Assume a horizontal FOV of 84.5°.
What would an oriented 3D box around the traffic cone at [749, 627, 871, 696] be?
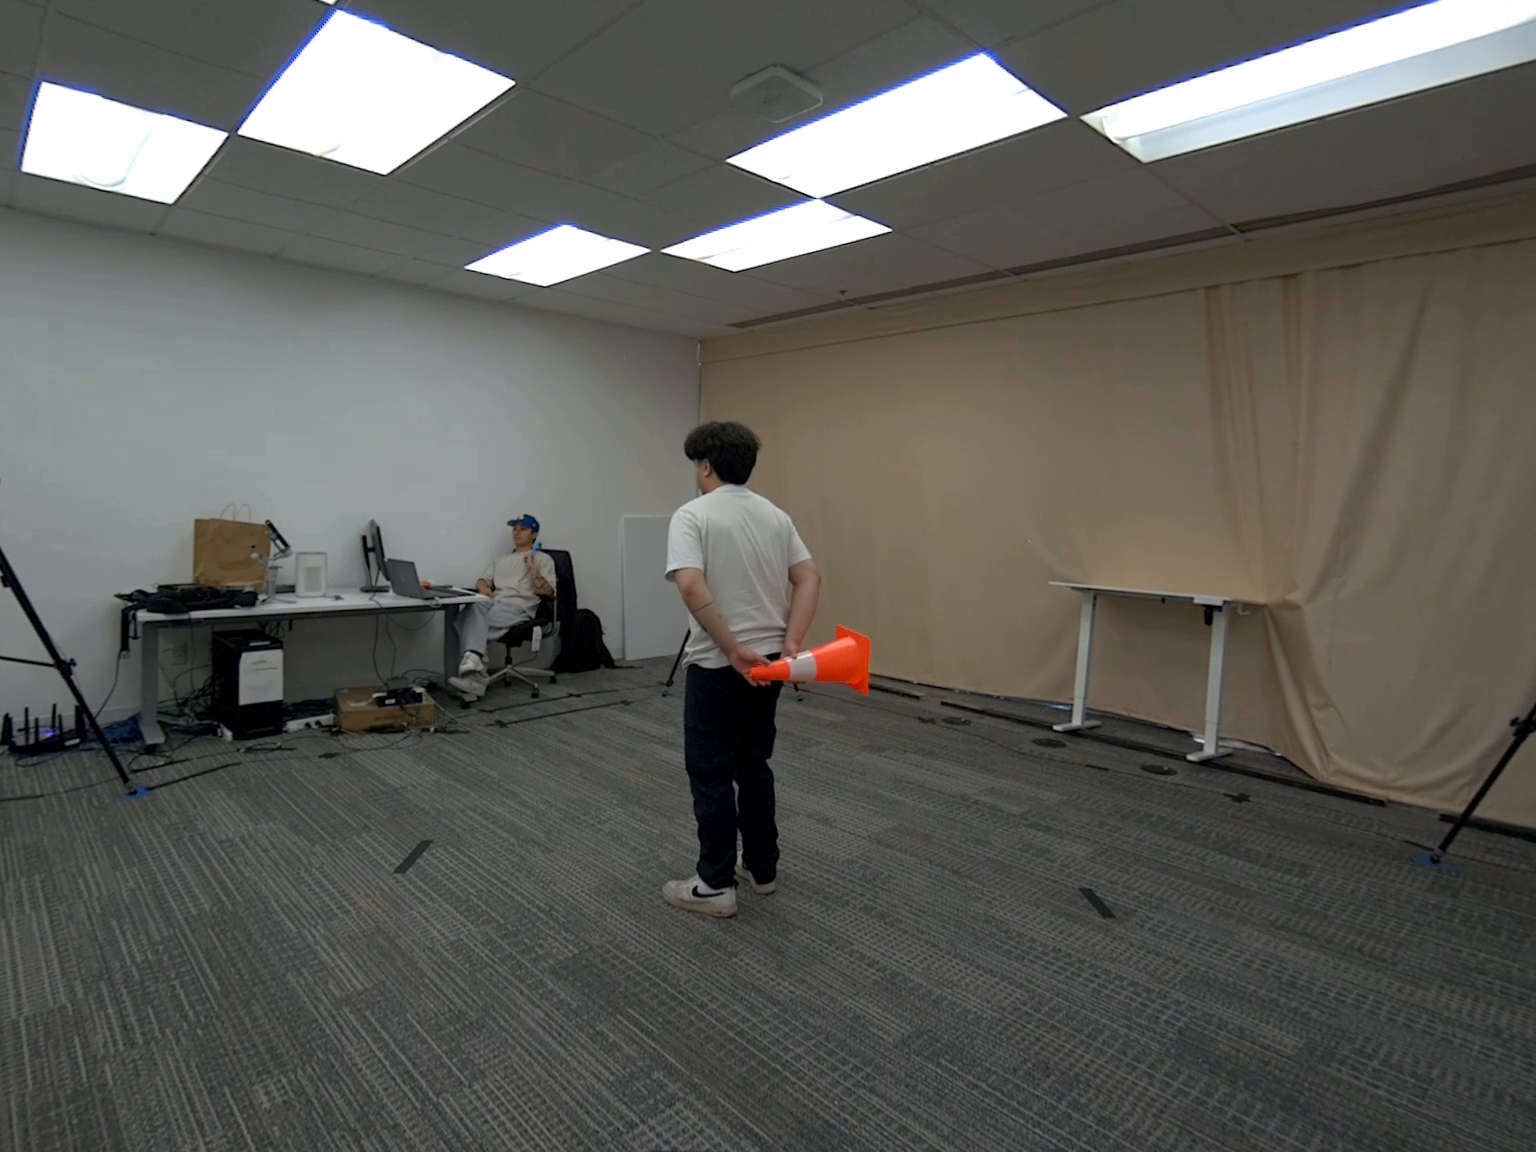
[{"bbox_3d":[0.110,0.300,2.747,0.378,0.202,0.209,-6,11,-23],"label":"traffic cone"}]
